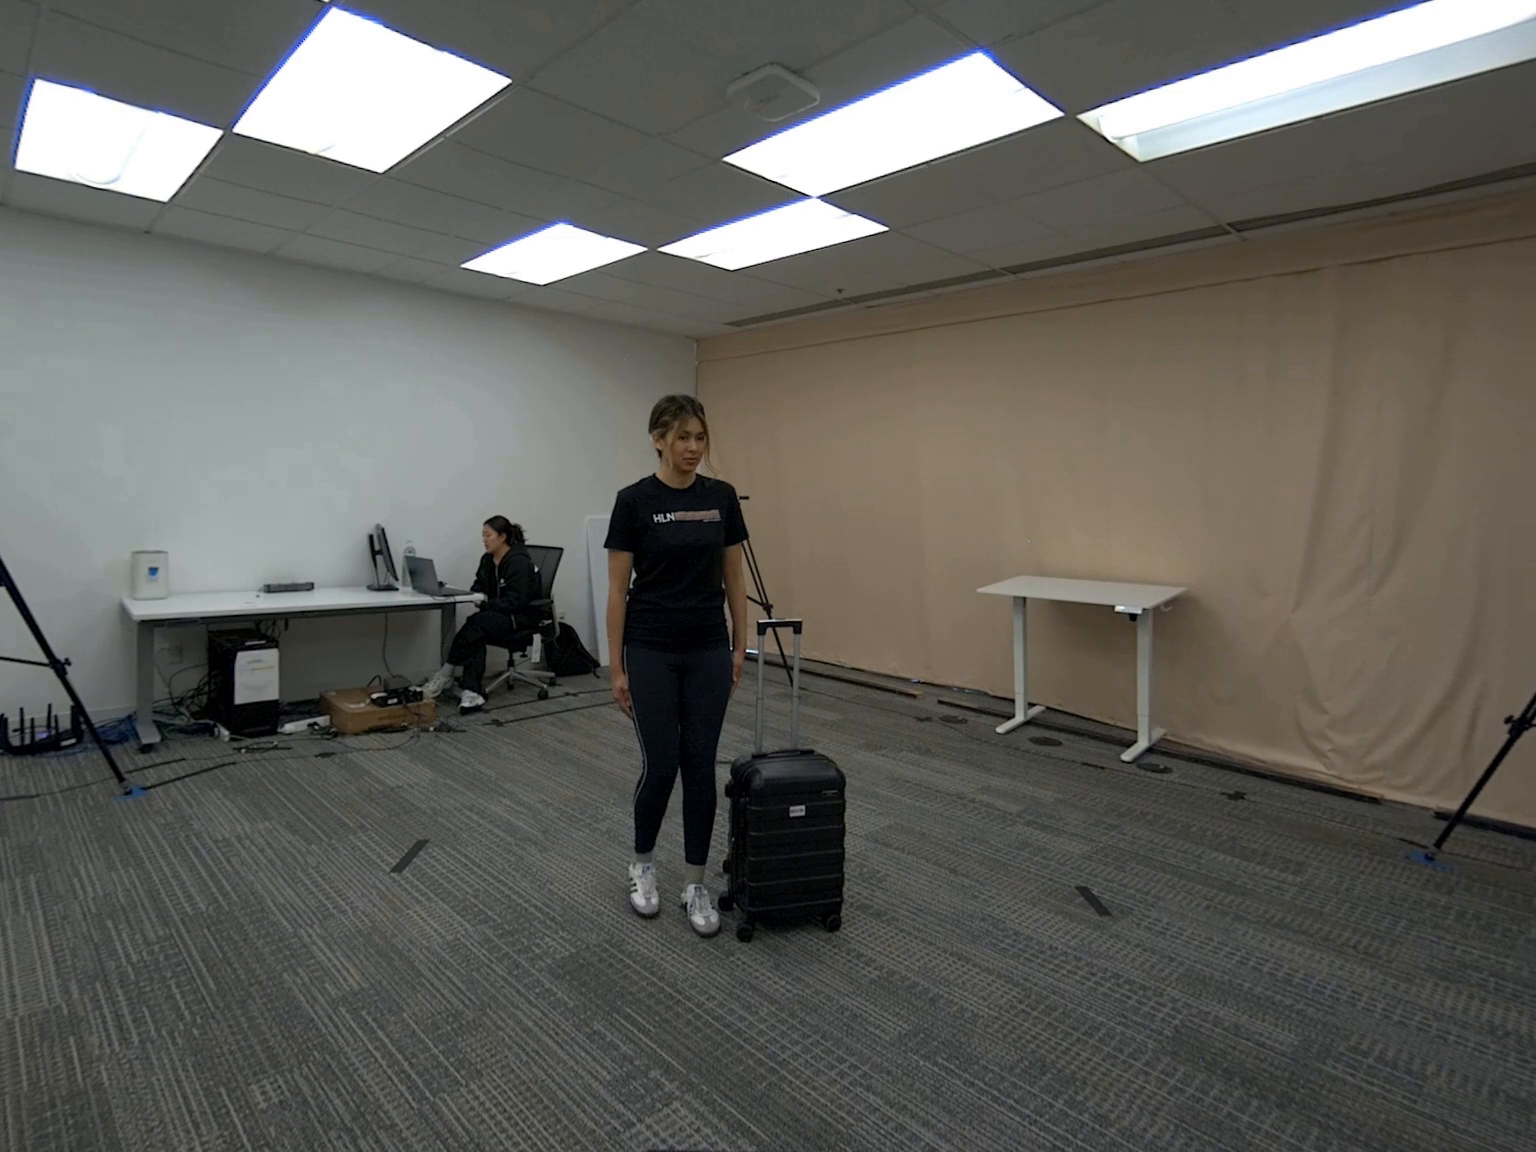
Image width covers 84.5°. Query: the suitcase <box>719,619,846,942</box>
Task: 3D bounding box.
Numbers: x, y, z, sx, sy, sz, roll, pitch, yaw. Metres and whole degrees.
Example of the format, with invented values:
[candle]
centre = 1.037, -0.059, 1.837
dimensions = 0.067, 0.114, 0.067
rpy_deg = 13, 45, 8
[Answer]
[suitcase]
centre = 0.067, 0.662, 2.760
dimensions = 0.379, 0.976, 0.261
rpy_deg = 1, 4, -16
